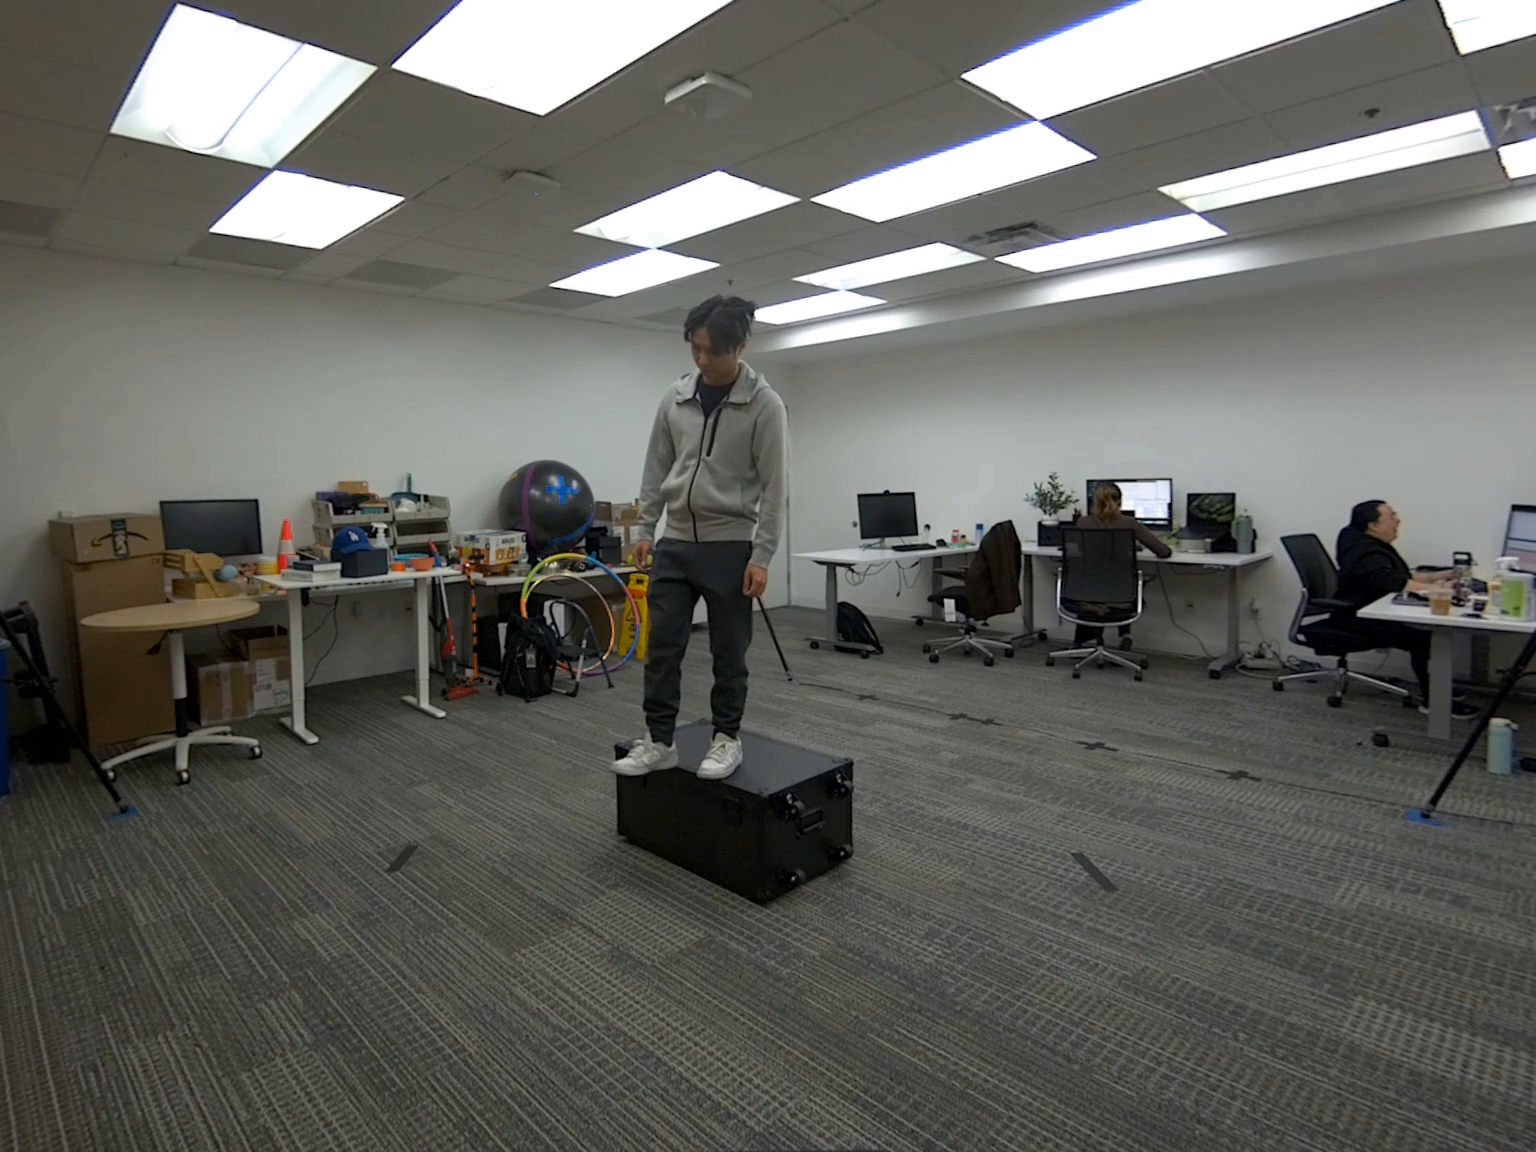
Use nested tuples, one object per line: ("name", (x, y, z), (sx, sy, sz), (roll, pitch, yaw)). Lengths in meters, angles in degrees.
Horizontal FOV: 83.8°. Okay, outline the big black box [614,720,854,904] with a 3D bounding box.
("big black box", (-0.118, 0.846, 3.186), (0.888, 0.395, 0.508), (4, 7, 43))
